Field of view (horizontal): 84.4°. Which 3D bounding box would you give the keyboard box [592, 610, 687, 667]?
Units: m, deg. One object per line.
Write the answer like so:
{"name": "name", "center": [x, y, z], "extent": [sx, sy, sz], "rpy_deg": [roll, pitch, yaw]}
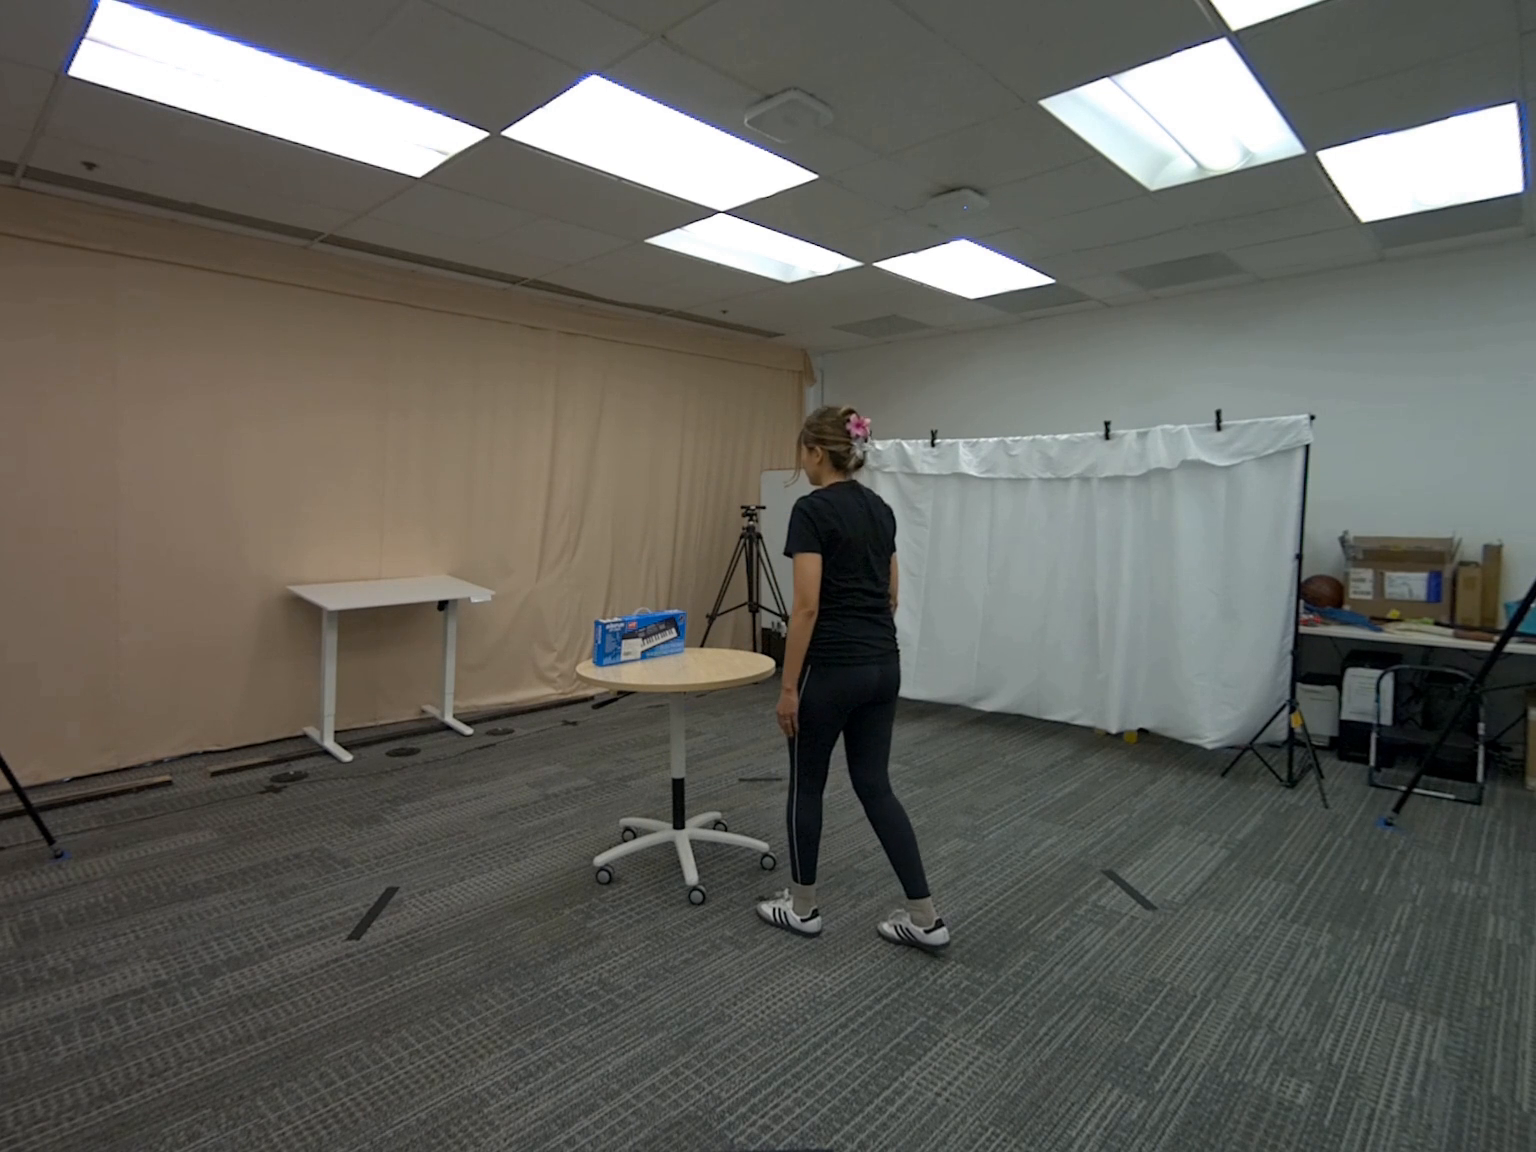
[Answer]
{"name": "keyboard box", "center": [-0.510, 0.246, 3.386], "extent": [0.061, 0.175, 0.424], "rpy_deg": [9, 10, 41]}
